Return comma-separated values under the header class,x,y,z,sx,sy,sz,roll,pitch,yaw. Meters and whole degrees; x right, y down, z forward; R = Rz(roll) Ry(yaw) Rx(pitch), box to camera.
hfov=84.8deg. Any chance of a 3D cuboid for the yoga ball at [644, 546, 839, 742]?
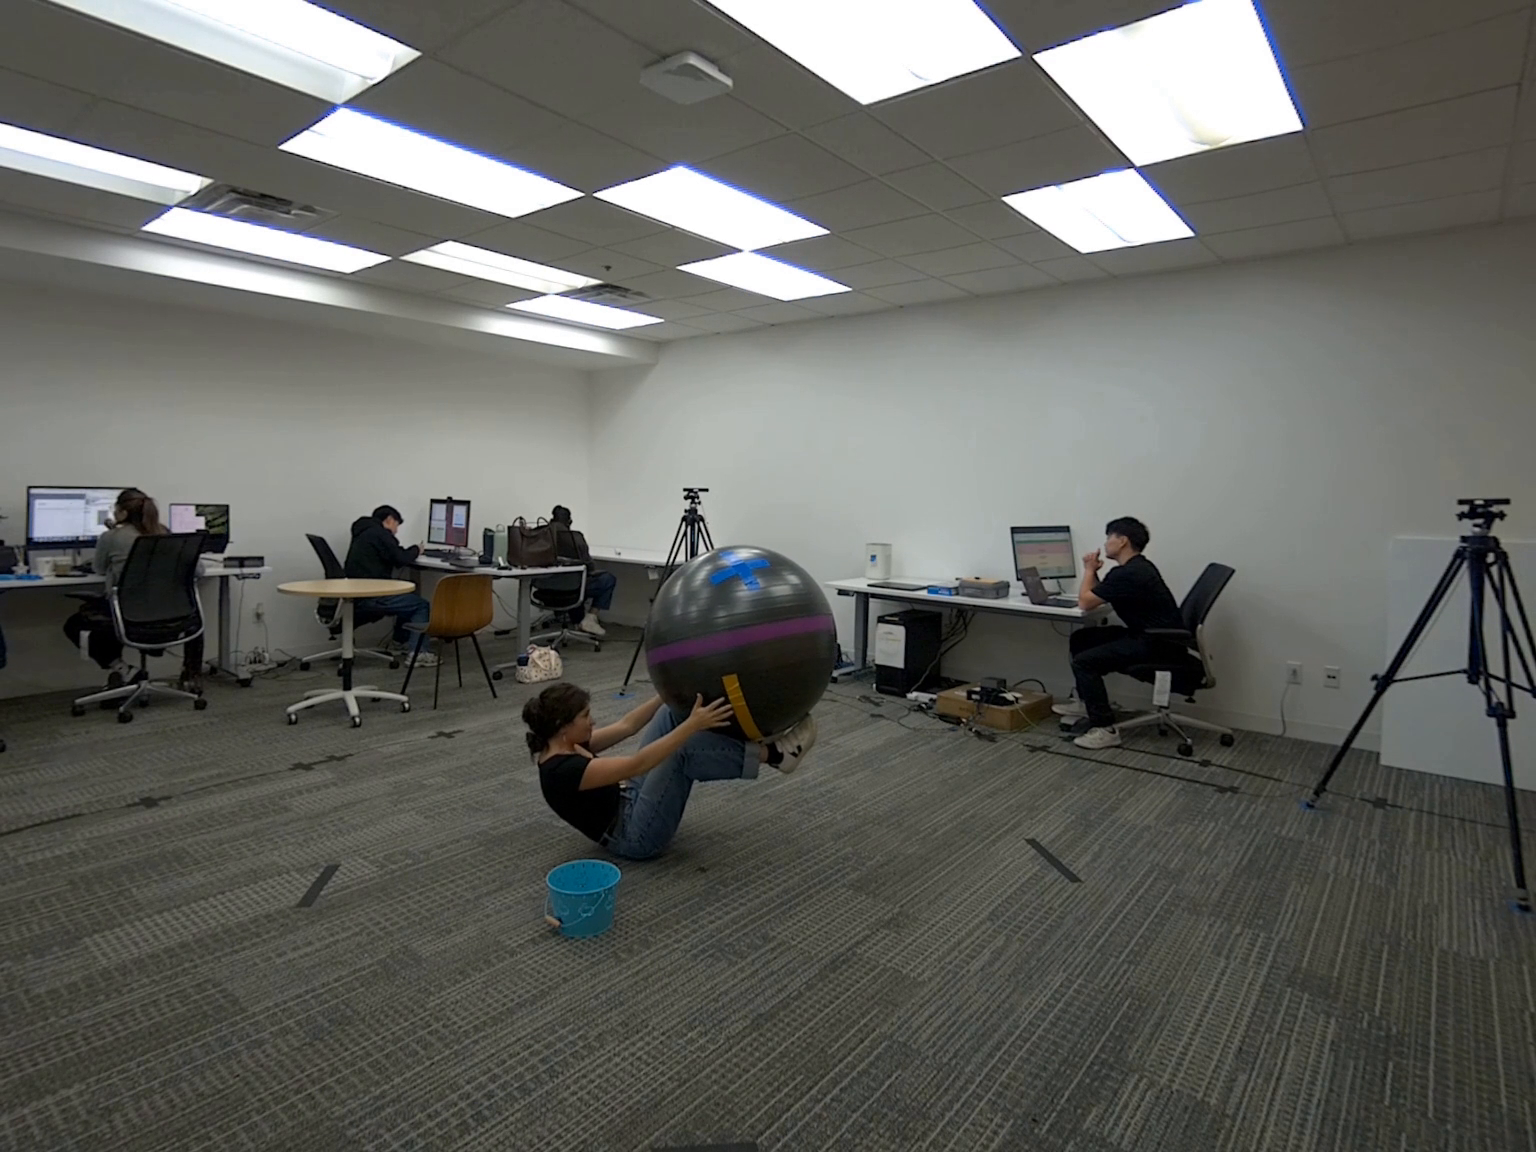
class,x,y,z,sx,sy,sz,roll,pitch,yaw
yoga ball,-0.126,0.259,3.345,0.757,0.756,0.761,1,4,-2
